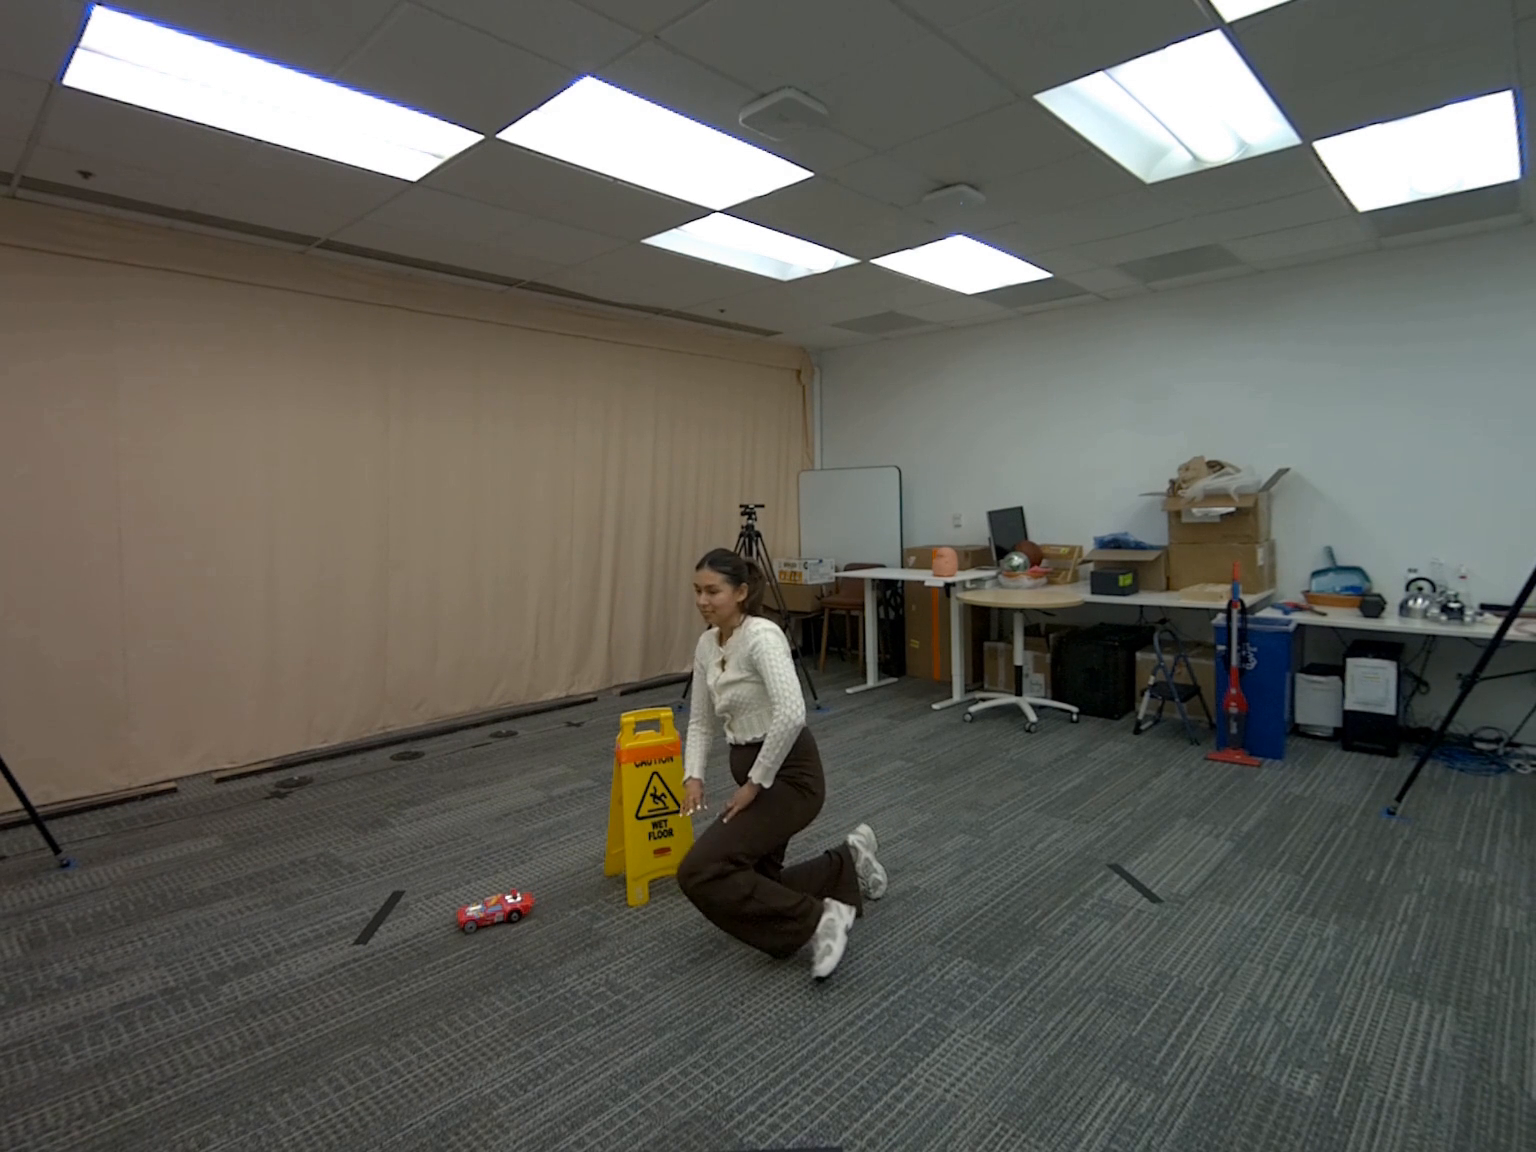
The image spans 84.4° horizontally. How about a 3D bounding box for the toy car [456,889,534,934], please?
[{"bbox_3d":[-0.931,1.143,2.863,0.250,0.083,0.133,-14,8,-22],"label":"toy car"}]
